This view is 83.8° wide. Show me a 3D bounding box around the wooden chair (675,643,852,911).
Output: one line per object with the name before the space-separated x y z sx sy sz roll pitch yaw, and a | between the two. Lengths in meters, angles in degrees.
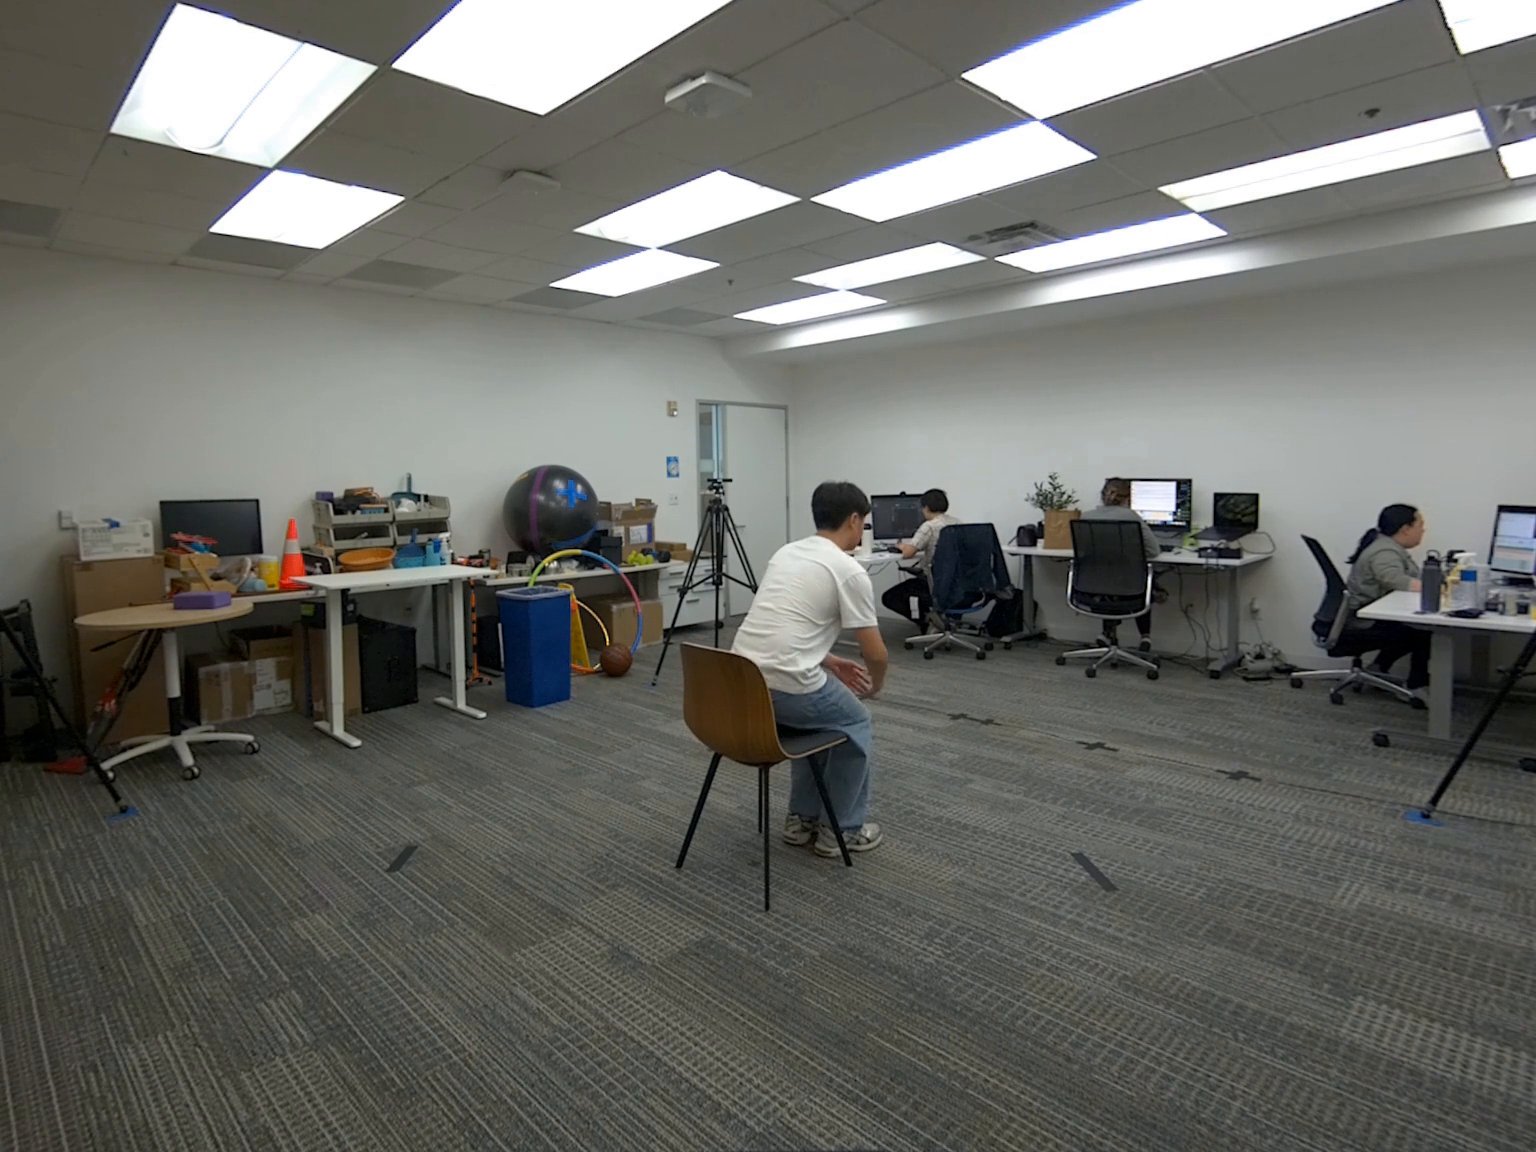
wooden chair | -0.018 0.625 3.045 0.493 0.871 0.511 4 10 45
